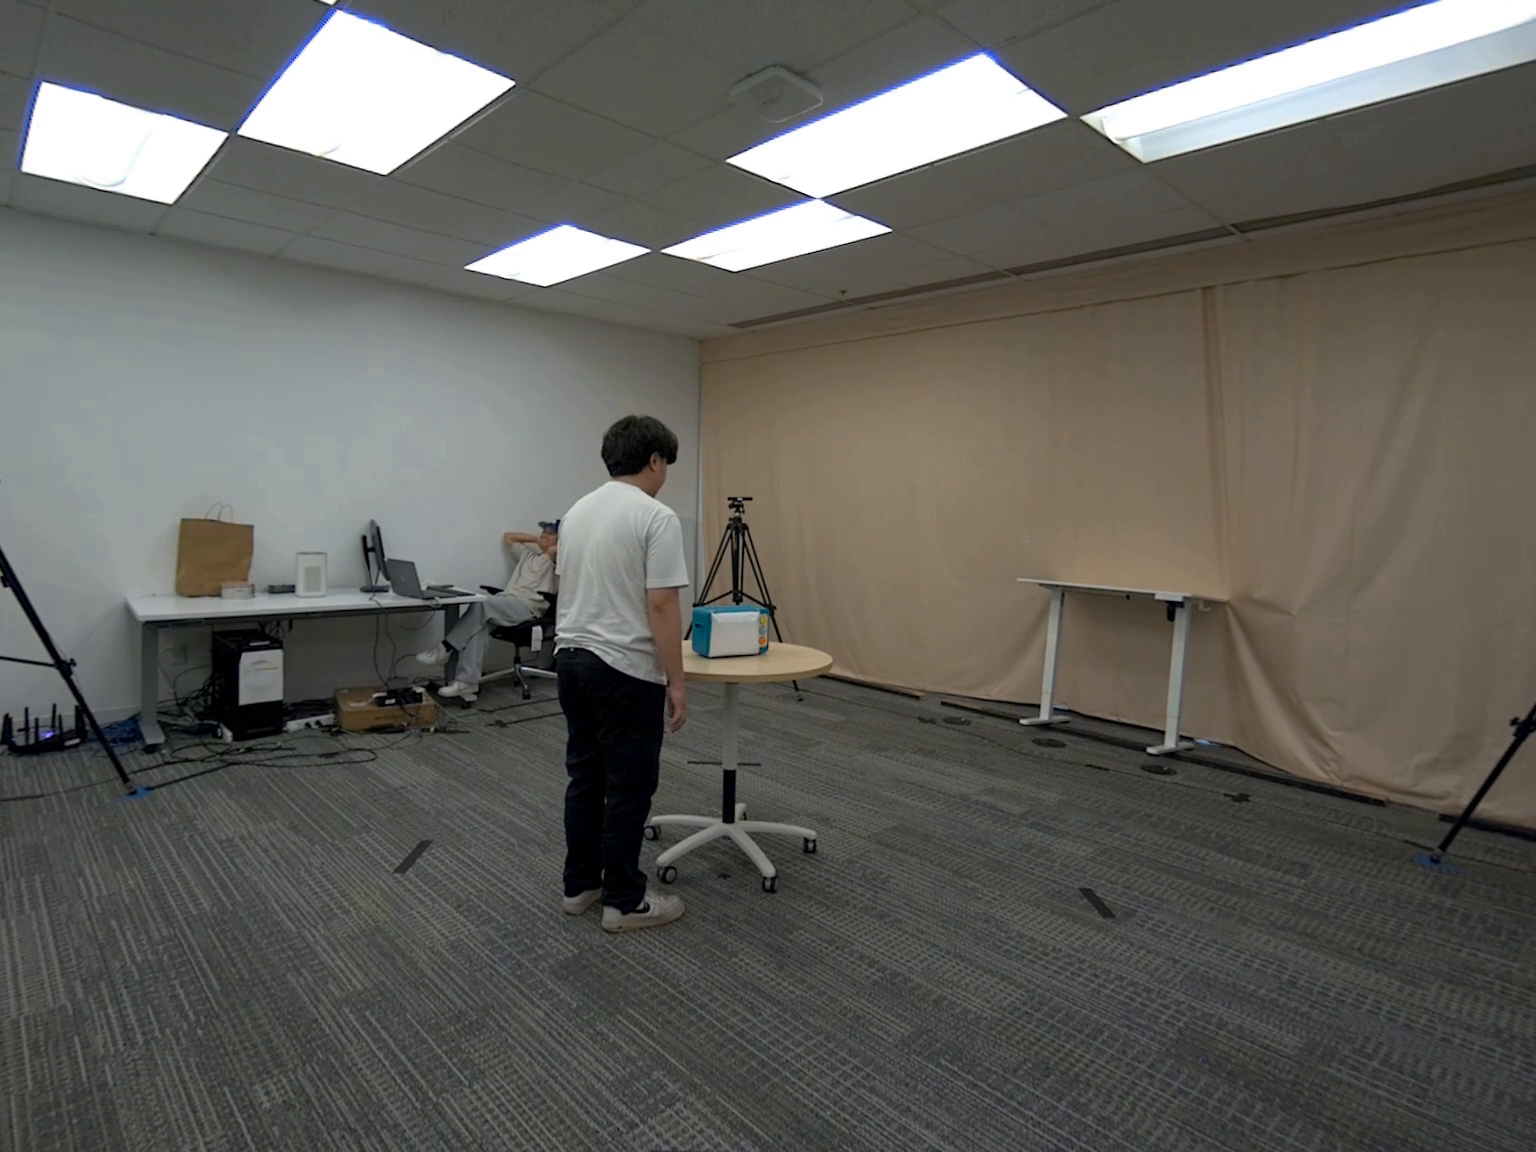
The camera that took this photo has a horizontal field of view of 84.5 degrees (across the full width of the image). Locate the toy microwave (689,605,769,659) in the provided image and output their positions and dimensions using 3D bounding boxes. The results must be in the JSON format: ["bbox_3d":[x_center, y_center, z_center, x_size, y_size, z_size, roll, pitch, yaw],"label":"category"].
[{"bbox_3d":[-0.145,0.212,3.234,0.280,0.184,0.156,0,4,-31],"label":"toy microwave"}]
